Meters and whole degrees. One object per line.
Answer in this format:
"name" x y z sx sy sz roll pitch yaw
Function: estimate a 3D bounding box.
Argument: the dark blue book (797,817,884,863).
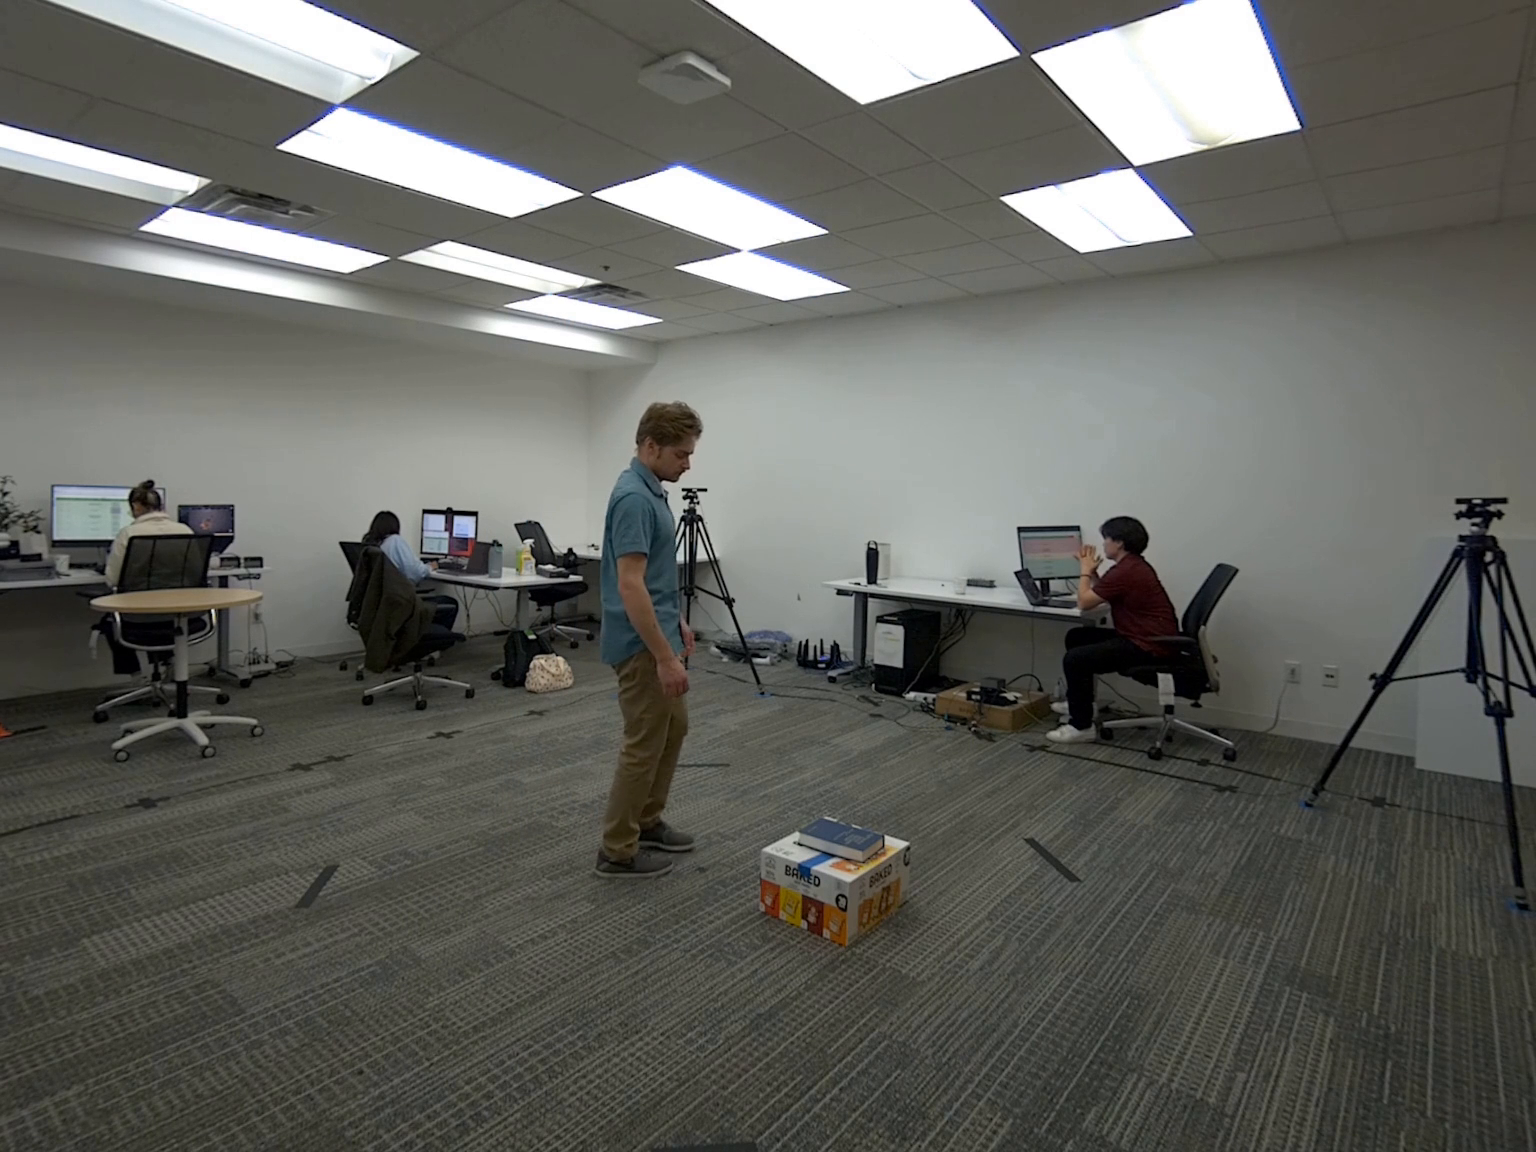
"dark blue book" 0.253 0.891 2.869 0.253 0.045 0.159 5 8 34
